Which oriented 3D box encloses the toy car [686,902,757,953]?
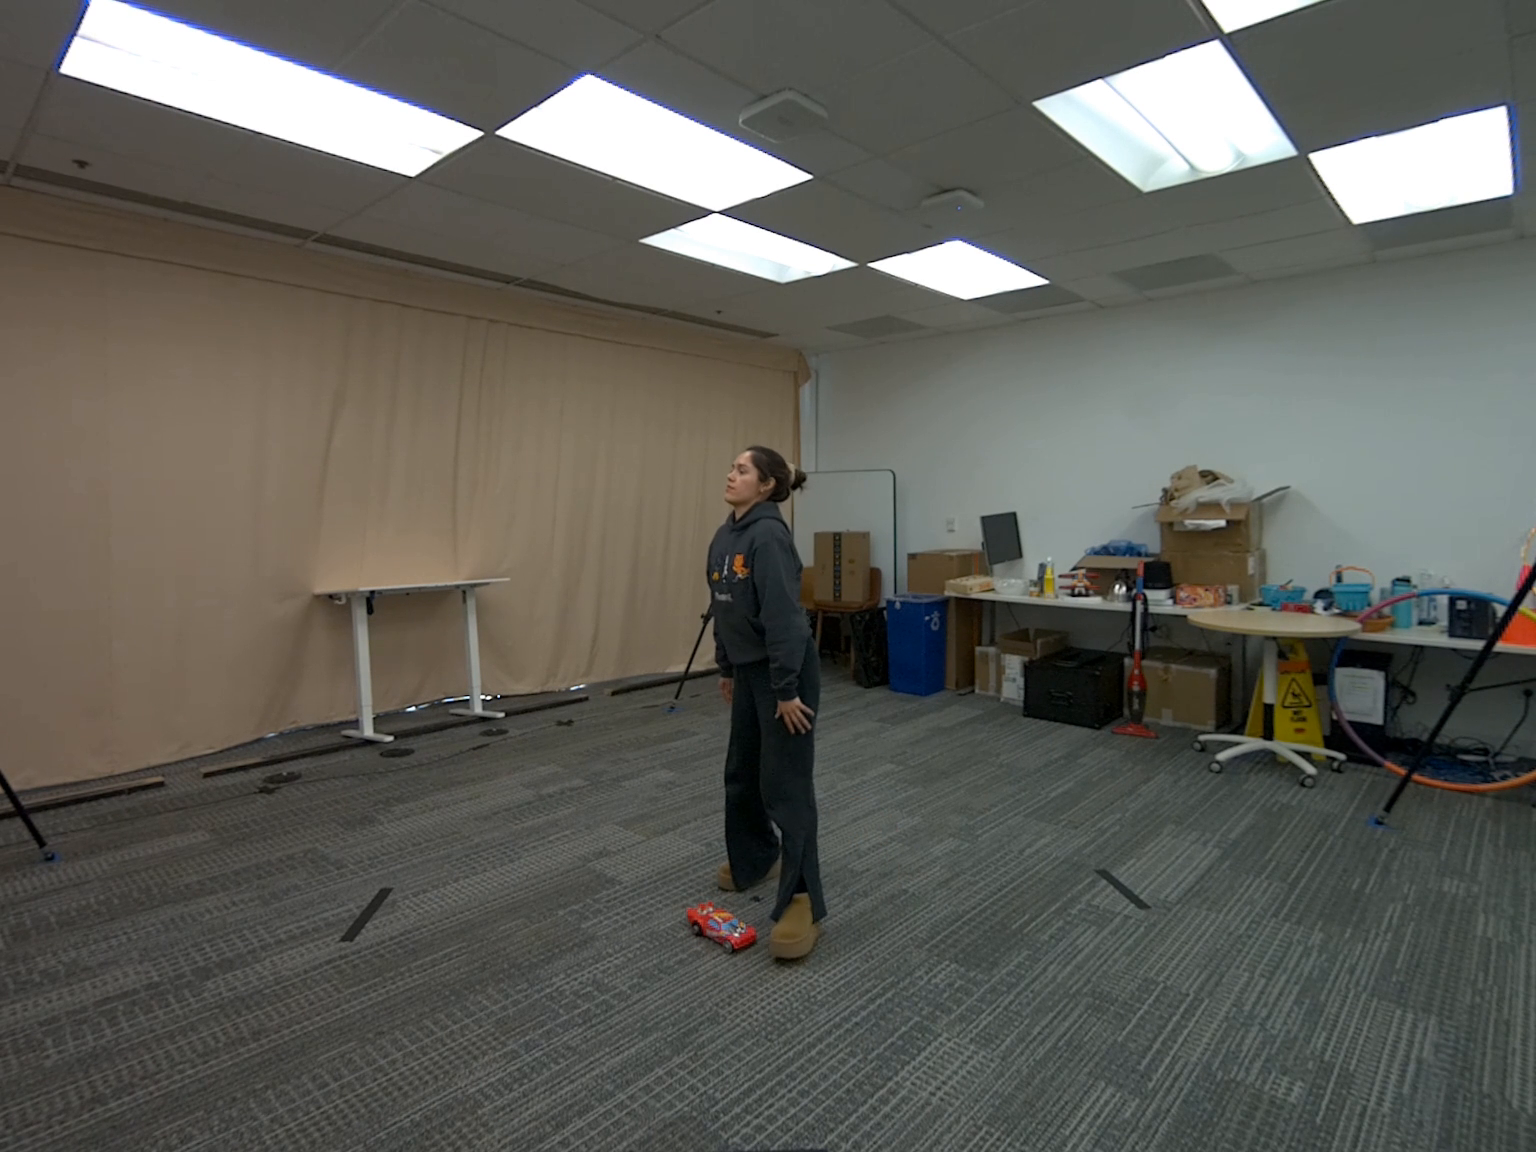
[{"bbox_3d":[-0.138,1.137,2.722,0.126,0.083,0.264,-4,16,-43],"label":"toy car"}]
